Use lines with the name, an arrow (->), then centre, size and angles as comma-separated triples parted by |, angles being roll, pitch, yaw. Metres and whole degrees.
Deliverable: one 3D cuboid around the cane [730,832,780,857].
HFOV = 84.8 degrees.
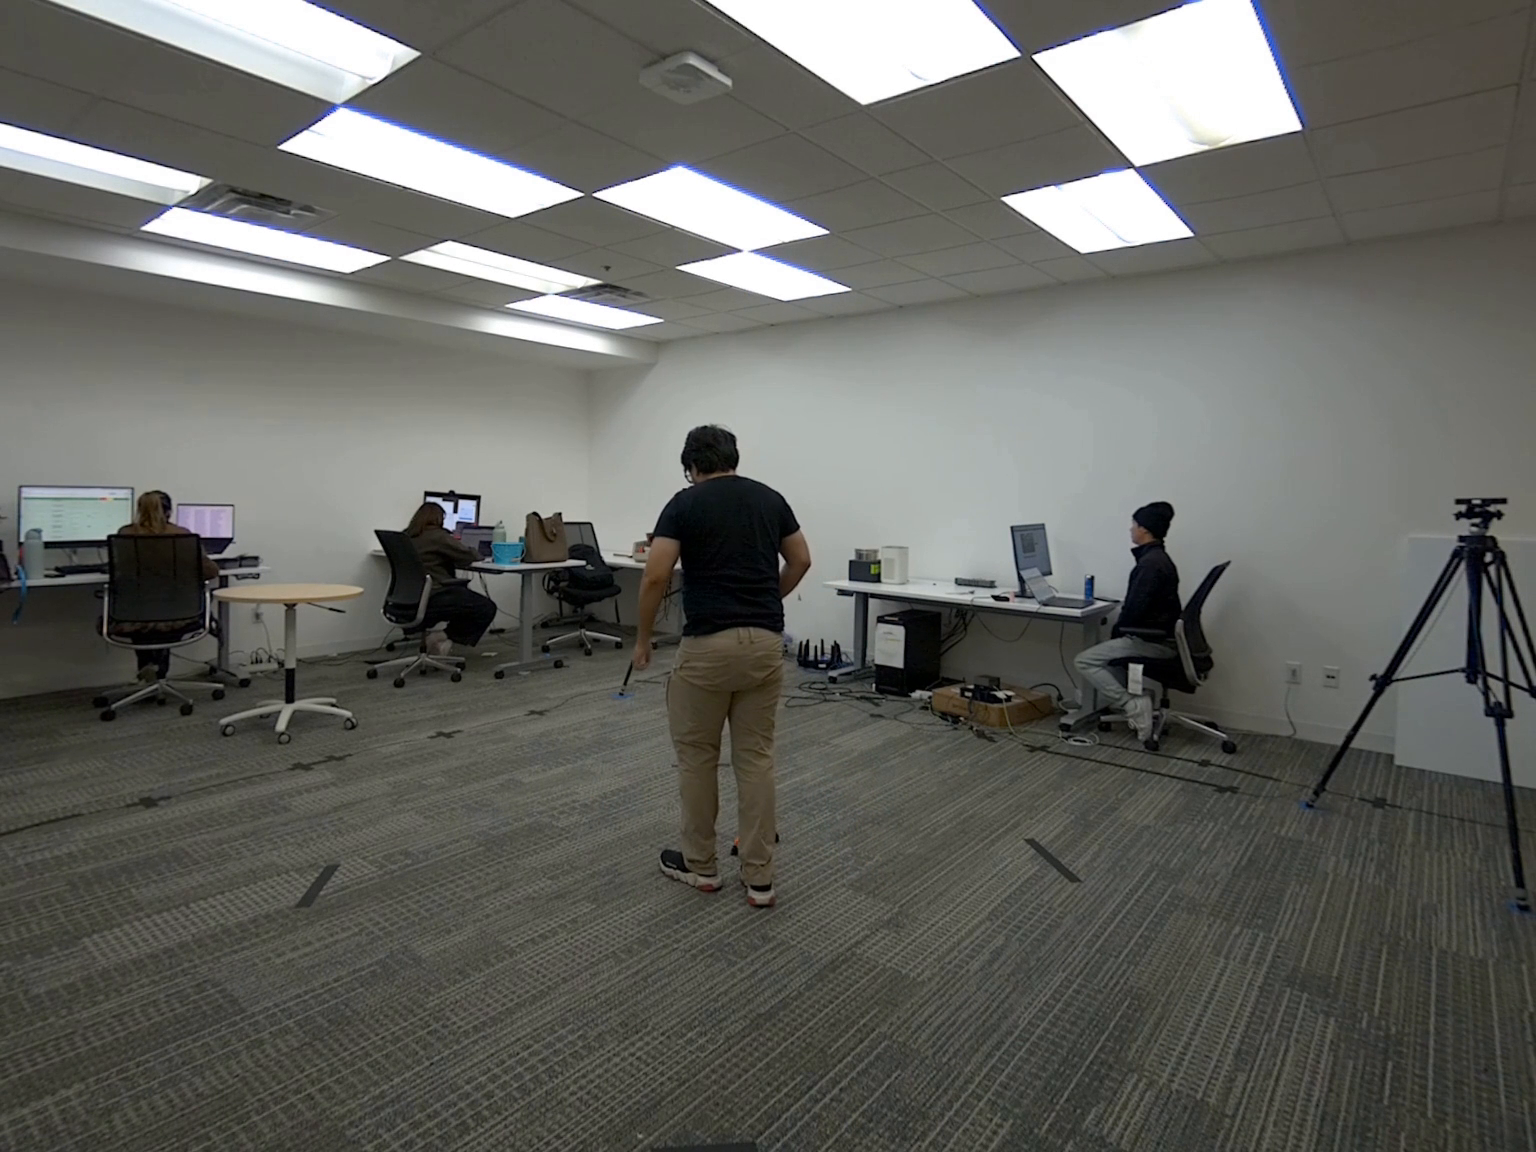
cane -> -0.045, 0.596, 3.292 | 0.154, 0.906, 0.203 | 2, 2, 14
